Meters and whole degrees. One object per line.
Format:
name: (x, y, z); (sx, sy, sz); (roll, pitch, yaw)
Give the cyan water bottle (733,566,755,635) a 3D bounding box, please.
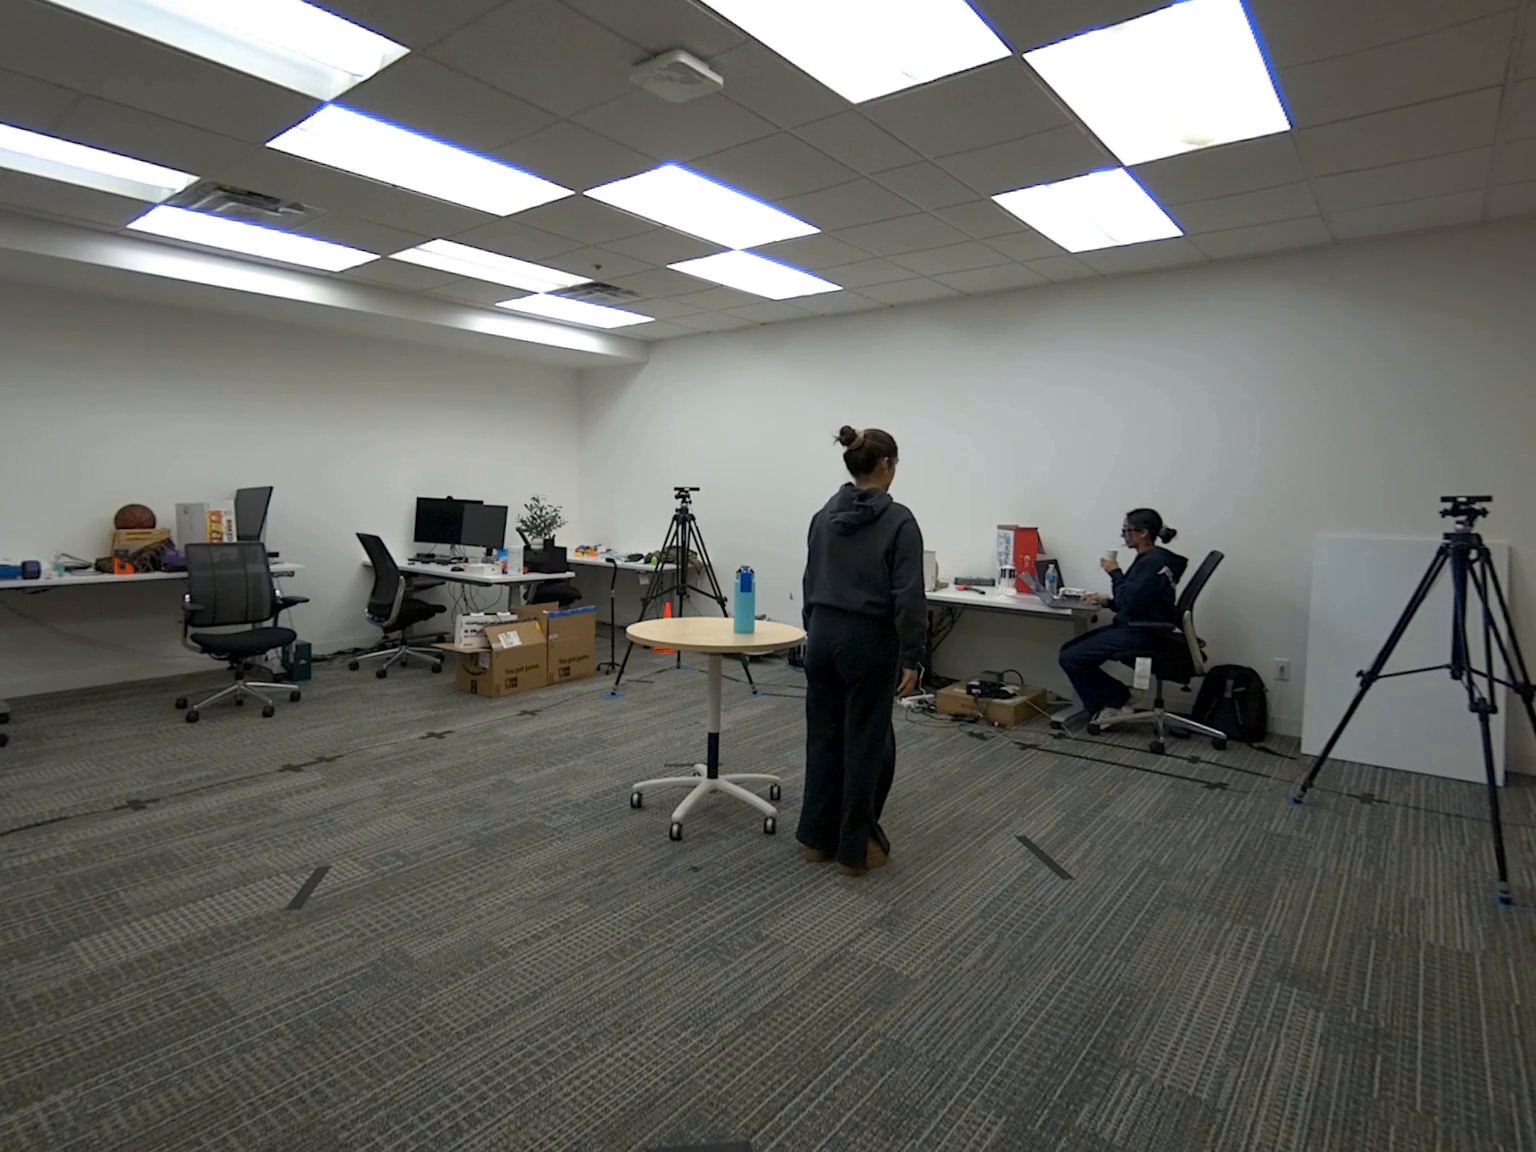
cyan water bottle: (-0.103, 0.097, 3.620); (0.092, 0.283, 0.093); (2, 3, -2)
